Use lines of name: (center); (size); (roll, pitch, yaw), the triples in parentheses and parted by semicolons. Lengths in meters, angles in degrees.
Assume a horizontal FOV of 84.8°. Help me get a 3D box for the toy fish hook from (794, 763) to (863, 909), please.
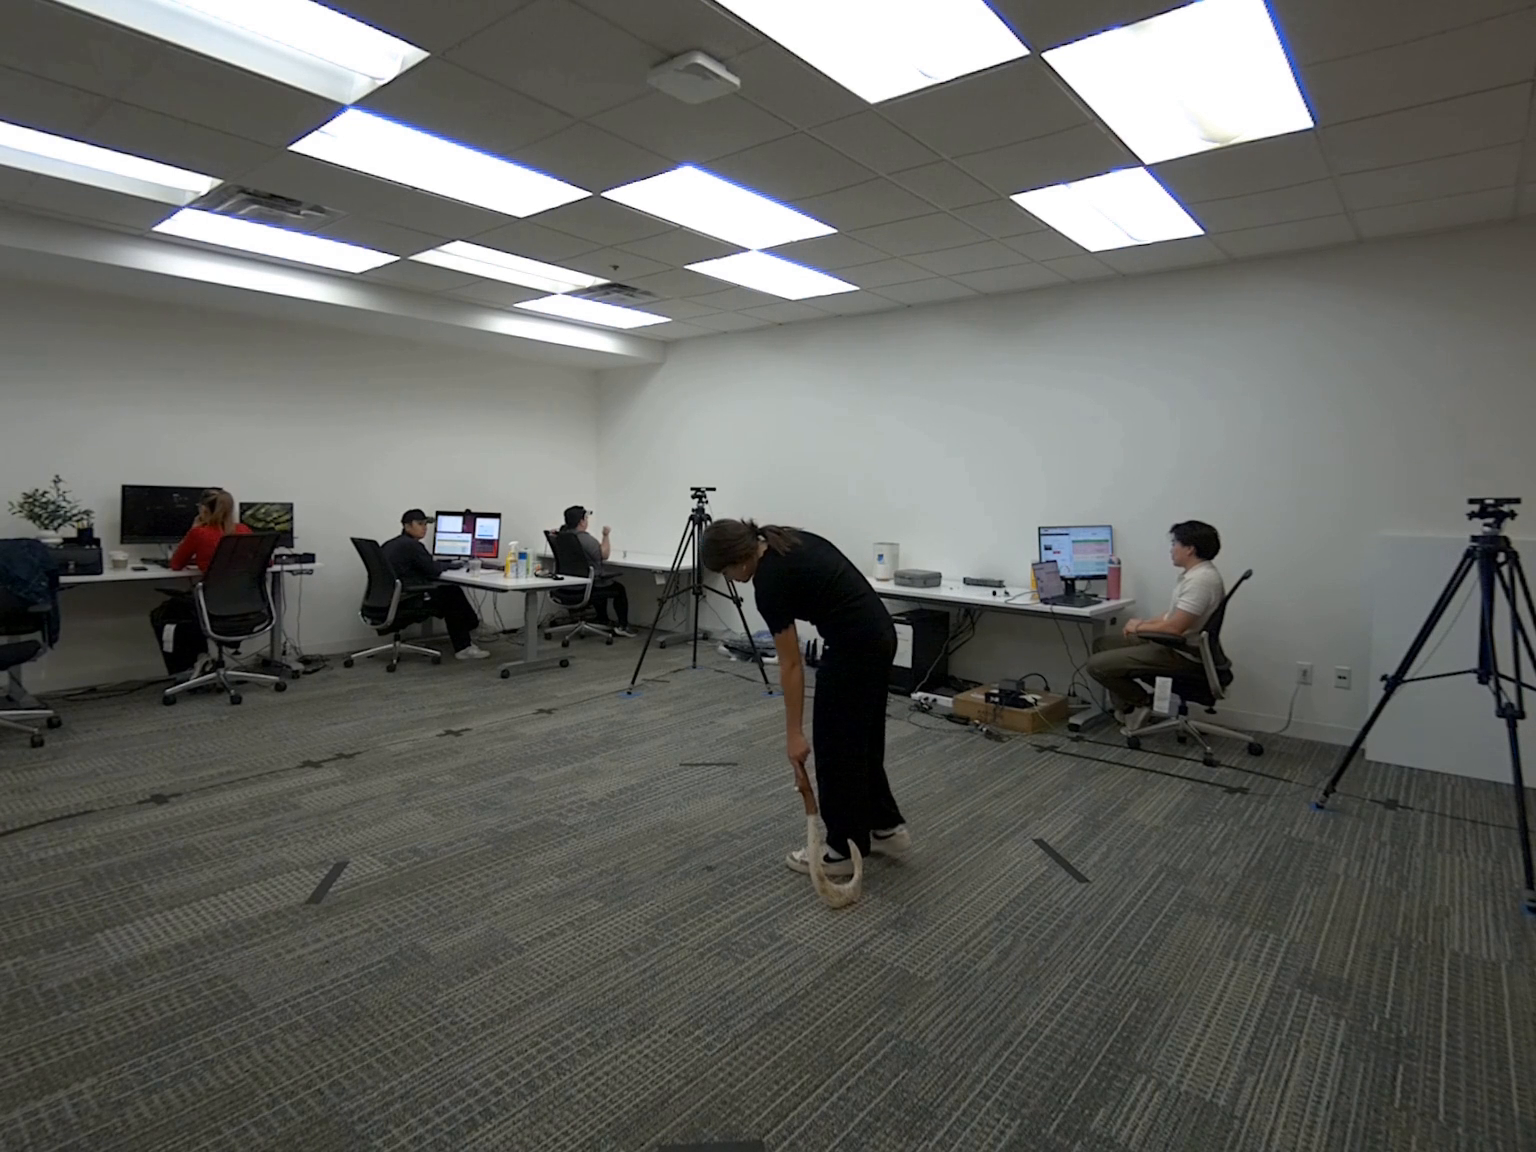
toy fish hook: (0.201, 0.866, 2.928); (0.218, 0.516, 0.049); (-1, -21, -36)
